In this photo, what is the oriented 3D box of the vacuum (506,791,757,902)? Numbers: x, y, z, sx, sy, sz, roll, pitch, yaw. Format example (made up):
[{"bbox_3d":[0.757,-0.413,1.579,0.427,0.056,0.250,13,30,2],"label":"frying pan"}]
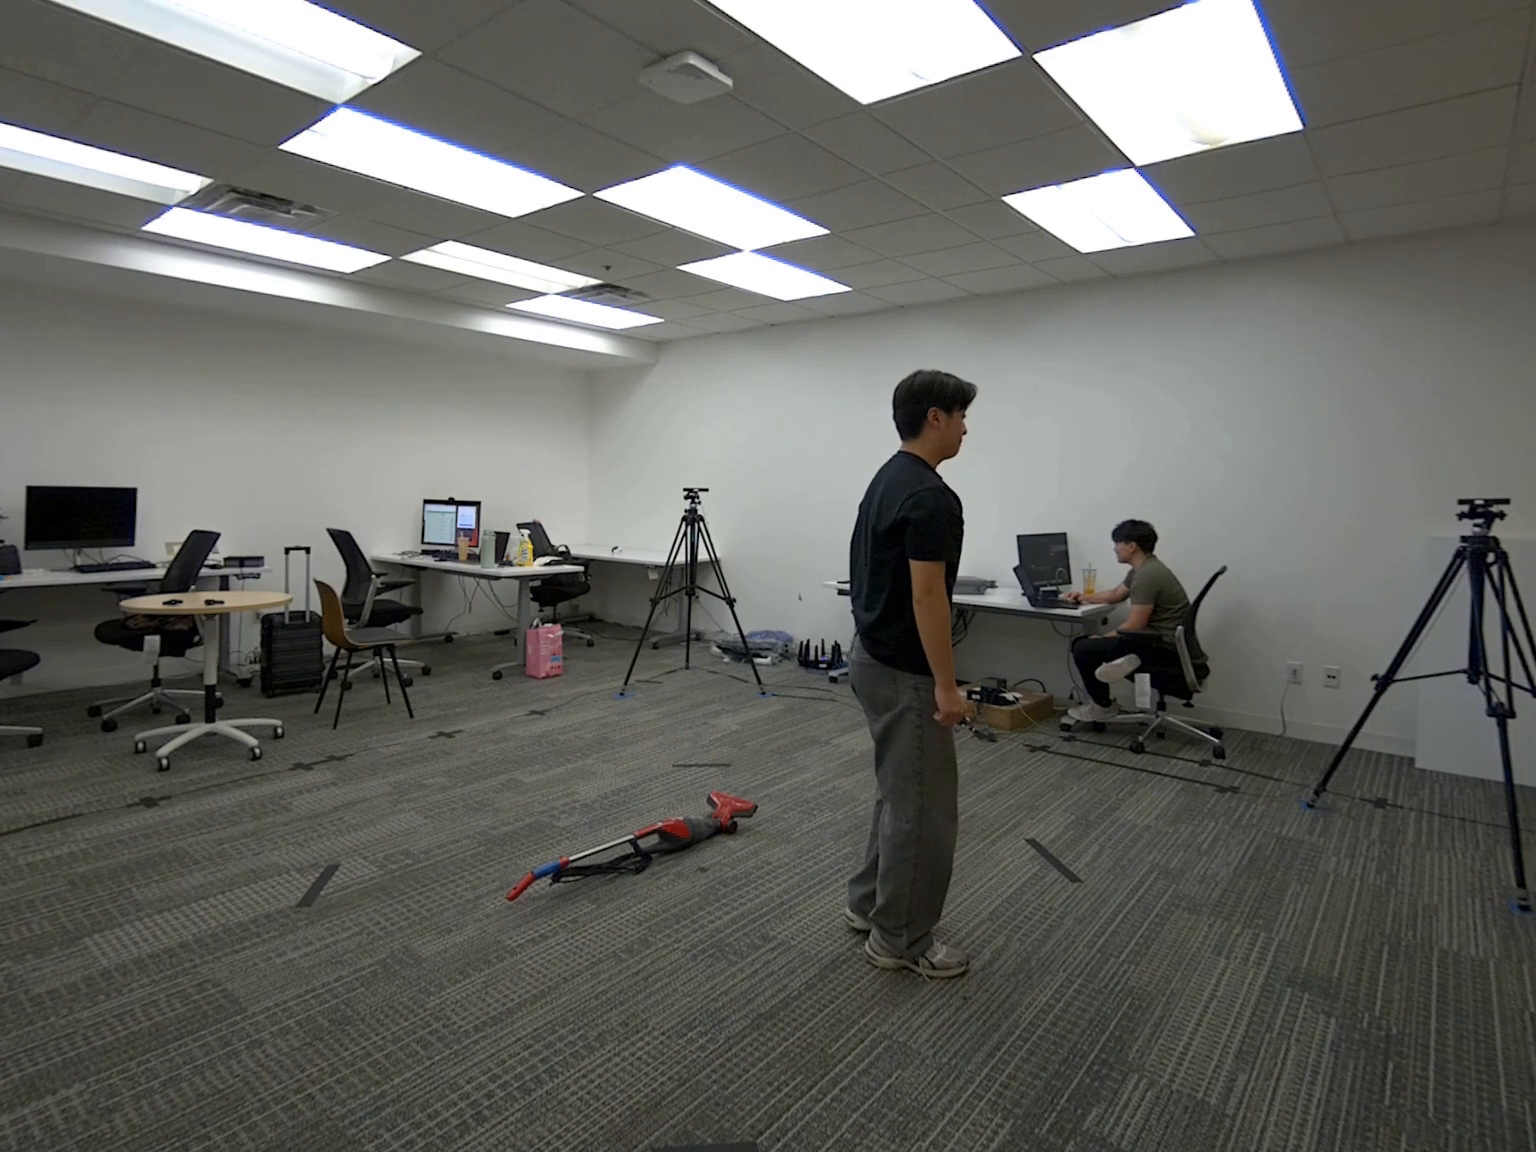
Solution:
[{"bbox_3d":[-0.500,1.007,3.126,0.261,0.143,1.018,4,6,42],"label":"vacuum"}]
